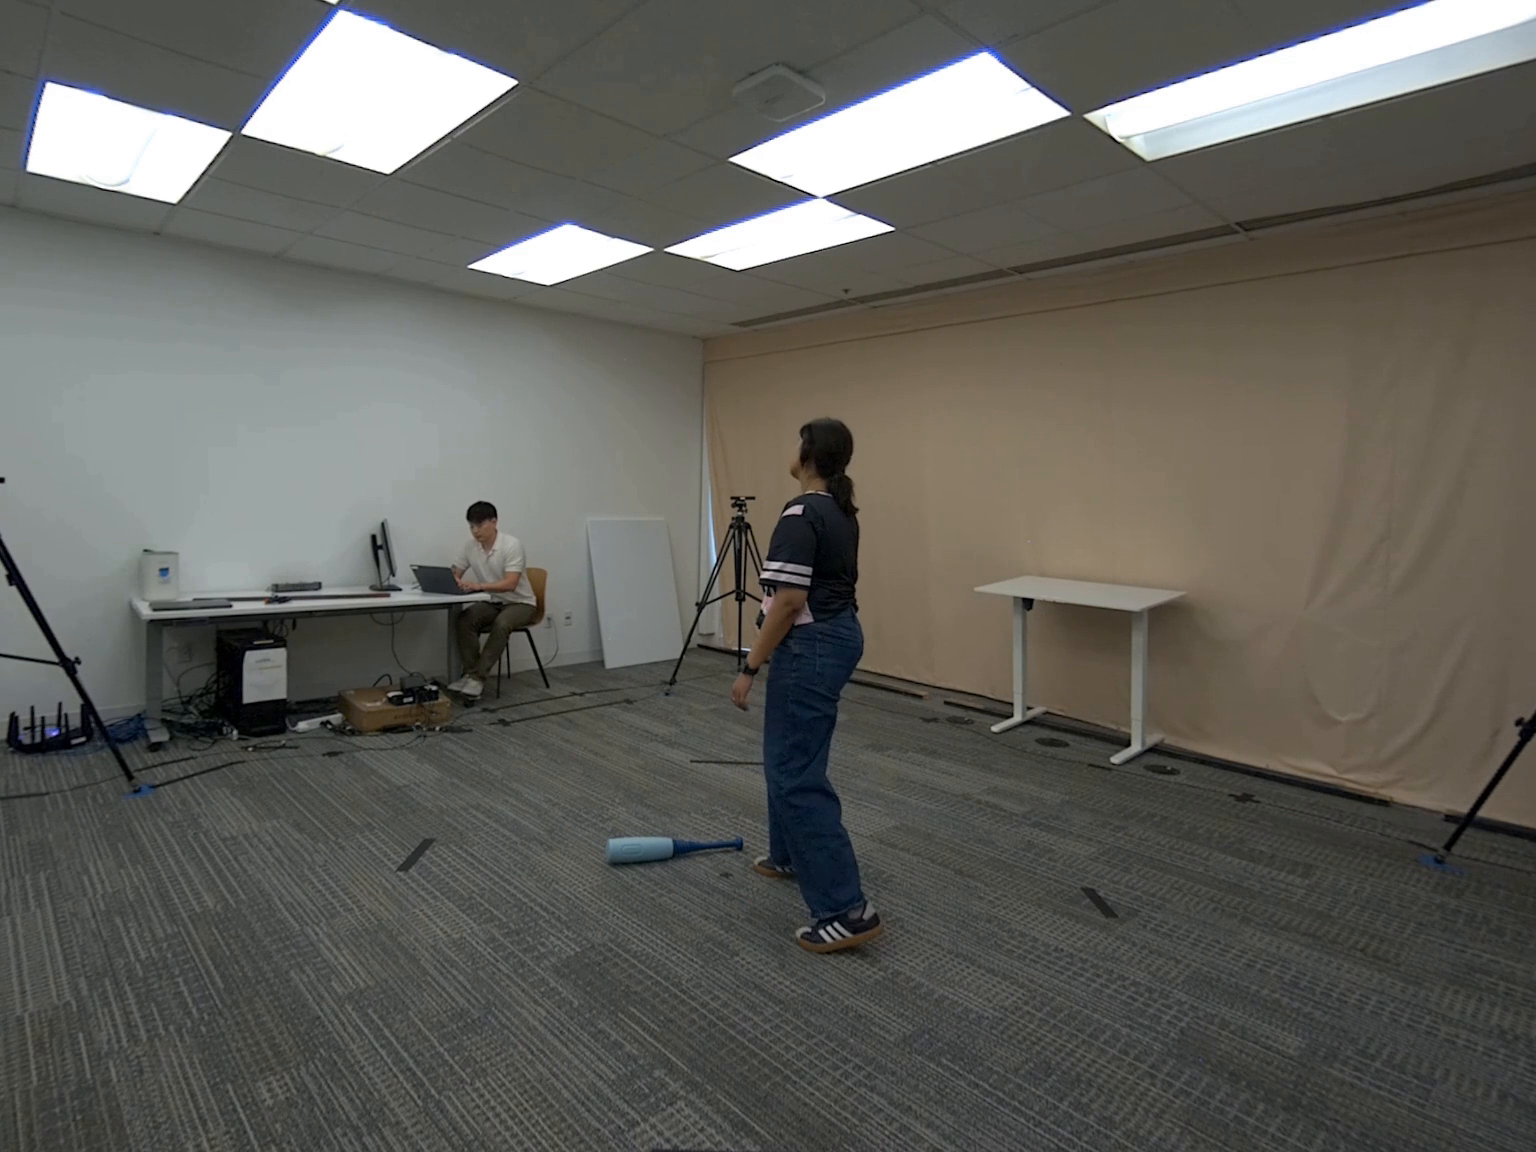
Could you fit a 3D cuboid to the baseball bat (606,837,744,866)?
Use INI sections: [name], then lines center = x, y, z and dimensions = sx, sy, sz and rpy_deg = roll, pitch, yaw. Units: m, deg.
[baseball bat]
center = -0.362, 1.050, 3.246
dimensions = 0.535, 0.089, 0.090
rpy_deg = 3, 3, -19
